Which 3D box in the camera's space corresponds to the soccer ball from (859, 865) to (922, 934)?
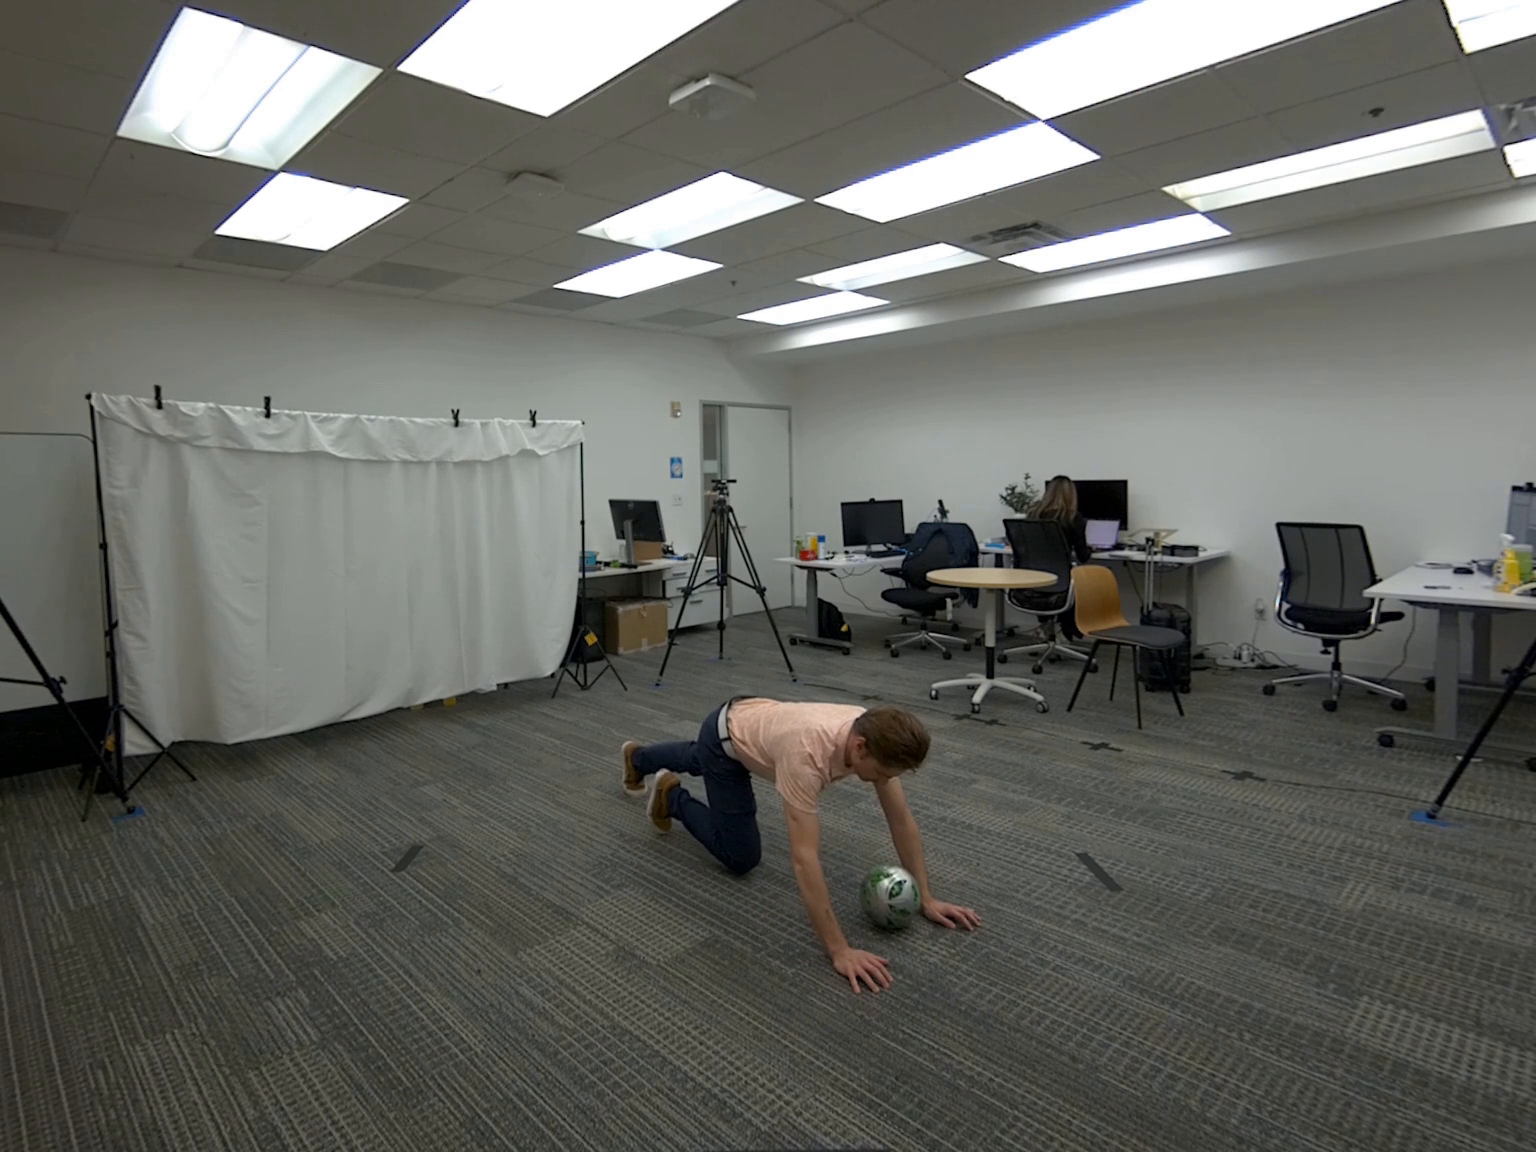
[{"bbox_3d":[0.382,0.997,2.658,0.187,0.187,0.188,-1,5,-2],"label":"soccer ball"}]
